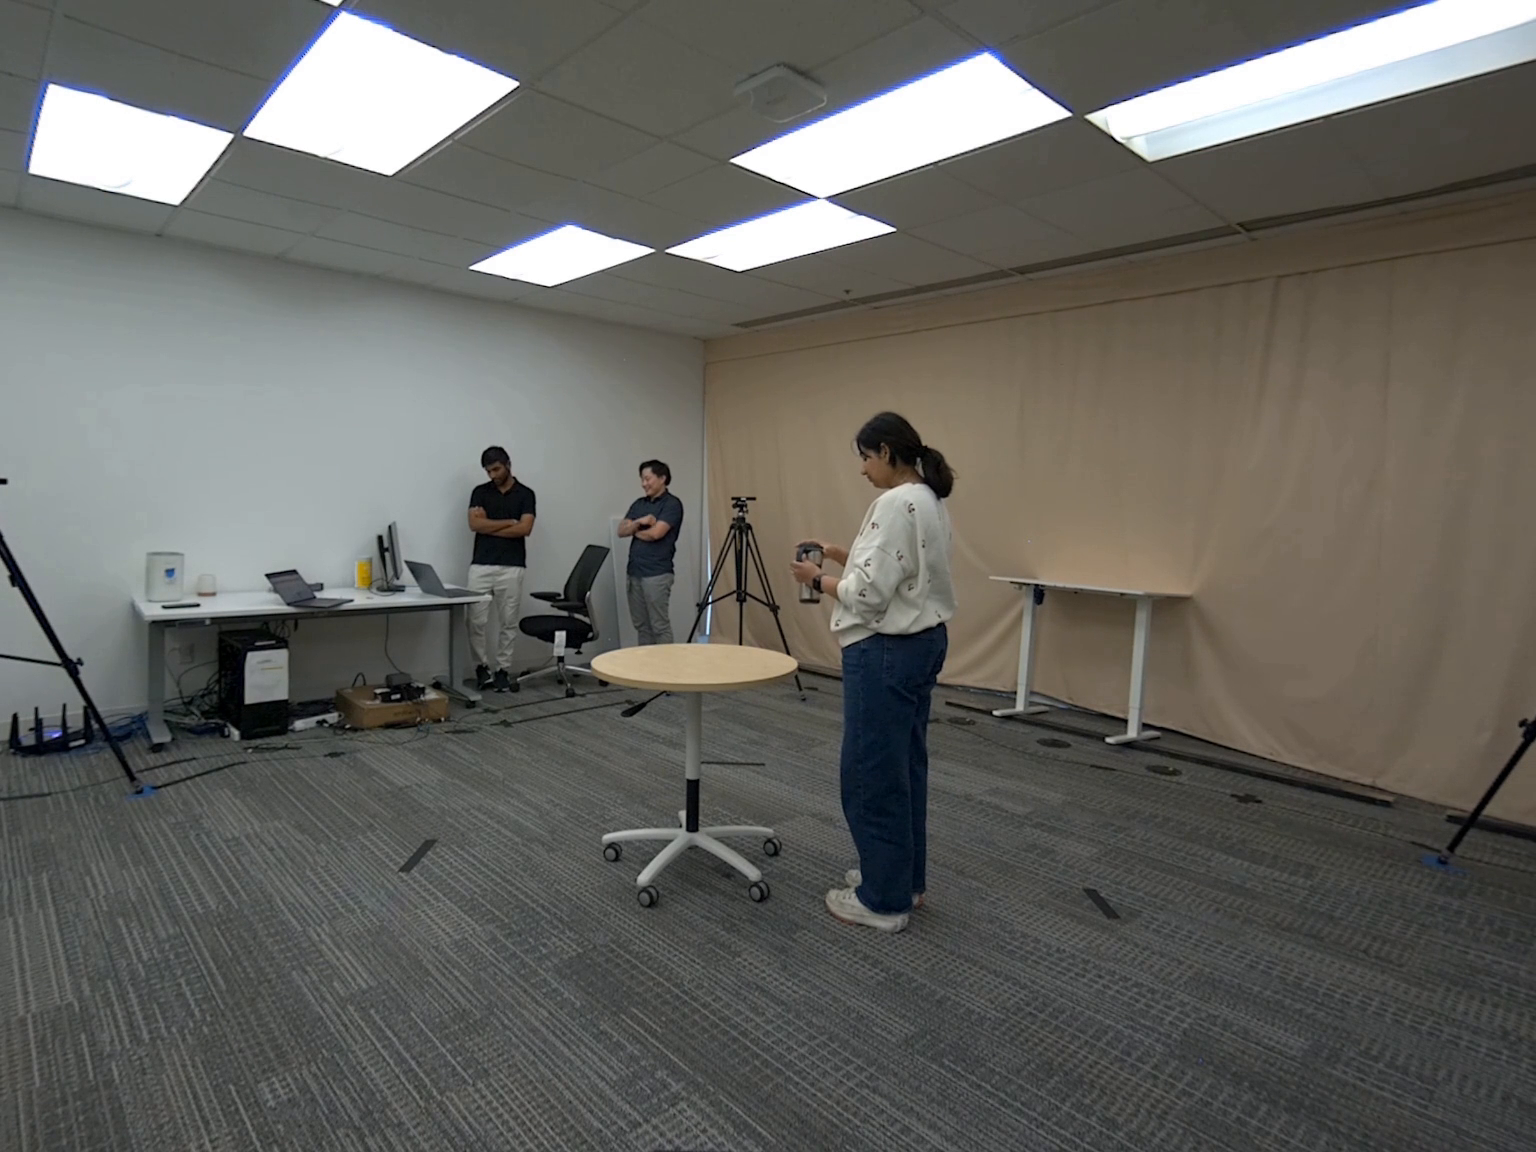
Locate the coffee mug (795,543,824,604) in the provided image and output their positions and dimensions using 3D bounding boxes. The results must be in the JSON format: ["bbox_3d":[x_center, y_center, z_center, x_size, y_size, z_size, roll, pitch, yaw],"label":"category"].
[{"bbox_3d":[0.127,-0.008,2.934,0.120,0.203,0.089,6,-3,-24],"label":"coffee mug"}]
